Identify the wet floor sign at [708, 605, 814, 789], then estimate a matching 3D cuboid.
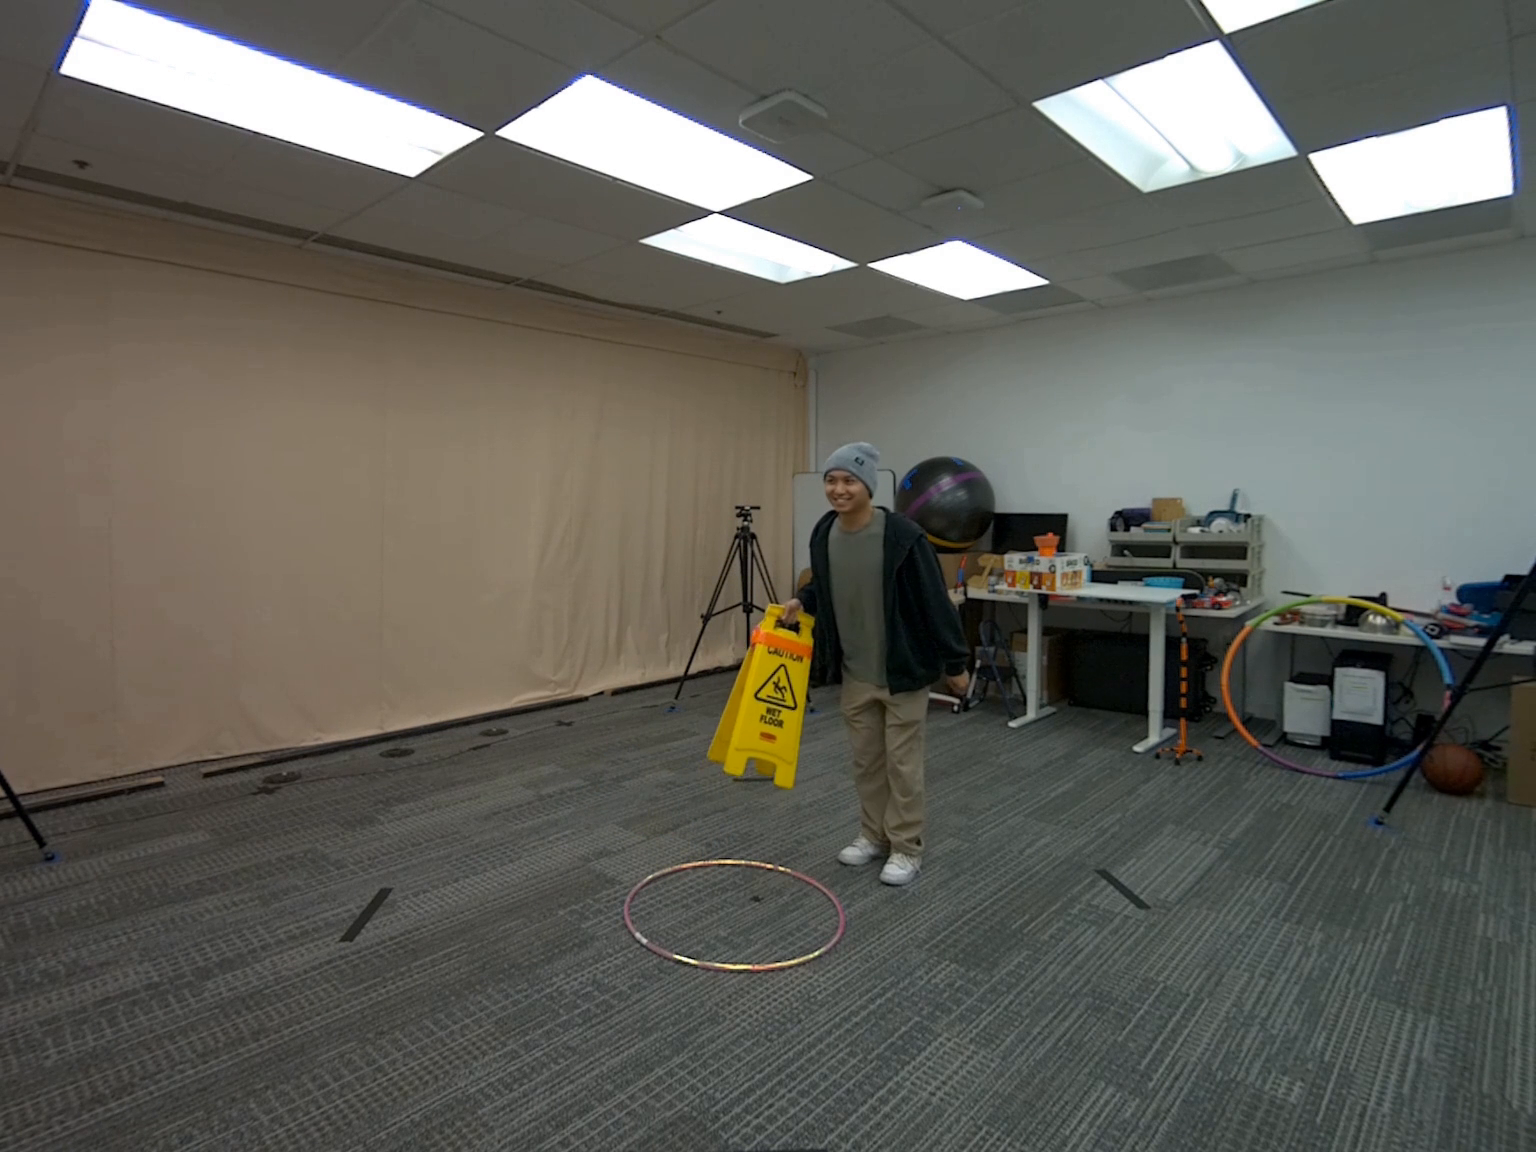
[{"bbox_3d":[0.013,0.445,3.259,0.277,0.647,0.294,15,-6,-15],"label":"wet floor sign"}]
